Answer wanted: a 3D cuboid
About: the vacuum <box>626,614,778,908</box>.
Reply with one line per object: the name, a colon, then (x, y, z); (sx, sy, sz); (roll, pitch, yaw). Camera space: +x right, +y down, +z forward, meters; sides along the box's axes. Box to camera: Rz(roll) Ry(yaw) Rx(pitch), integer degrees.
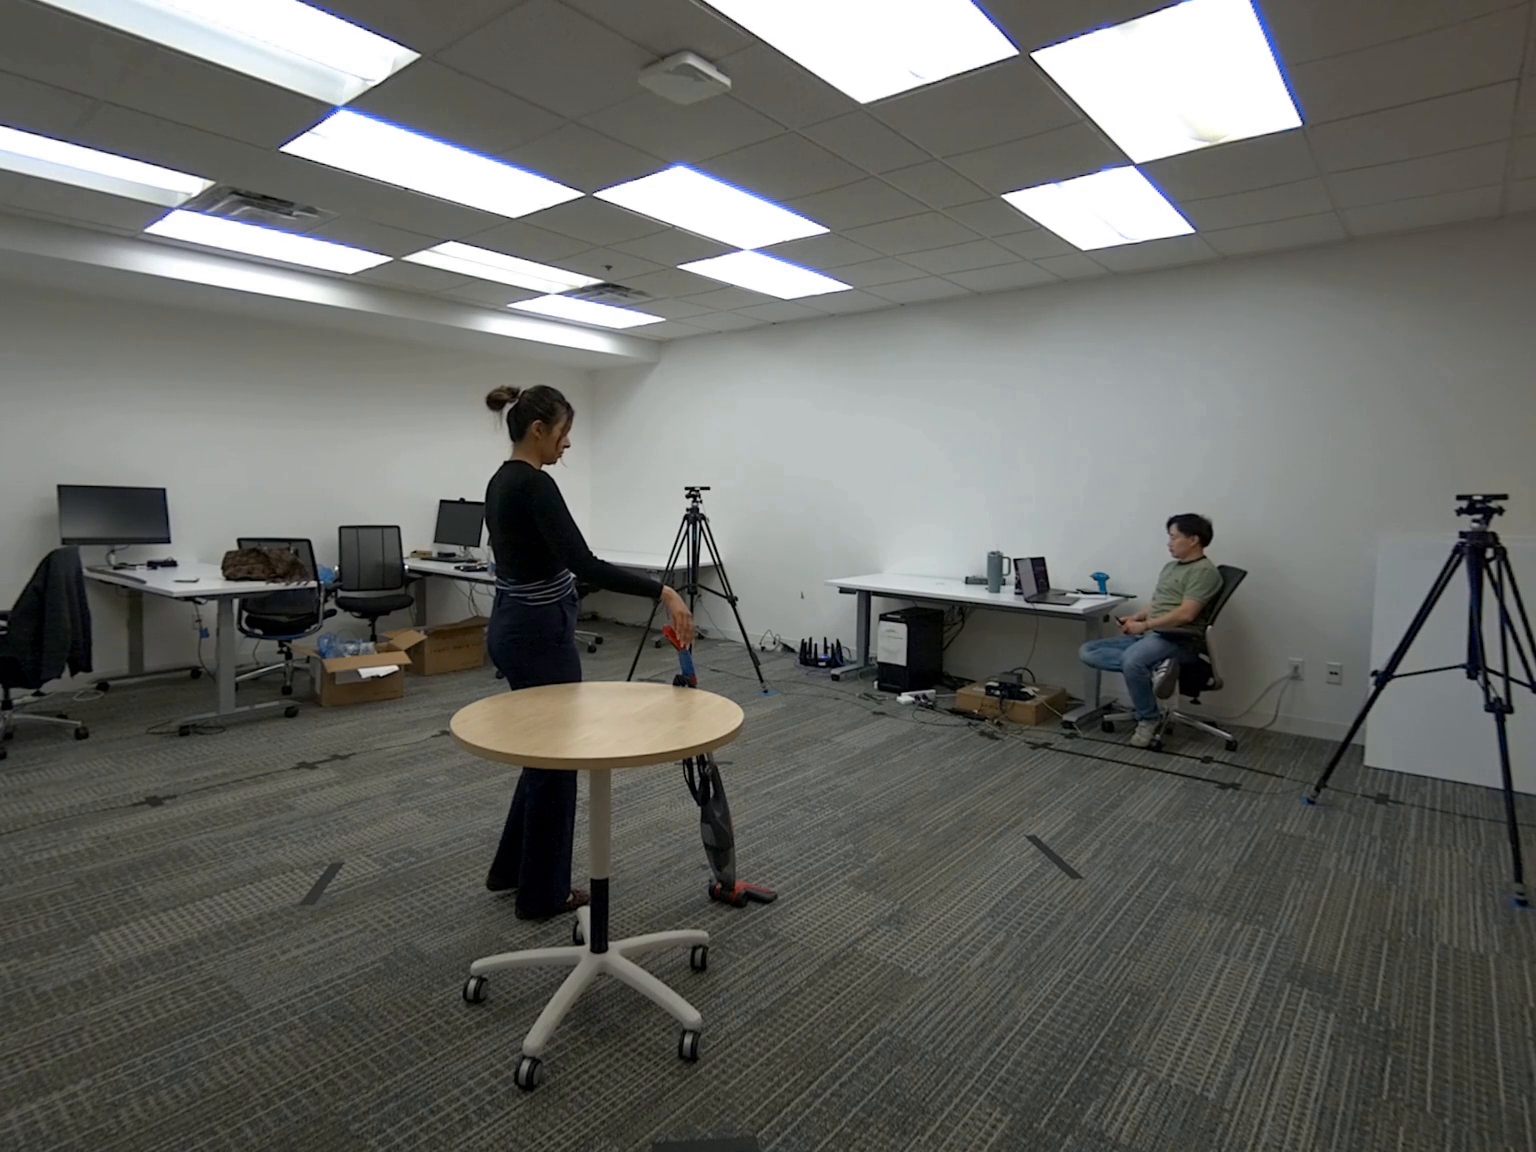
vacuum: (-0.208, 0.627, 2.705); (0.261, 1.025, 0.143); (4, 27, 35)
